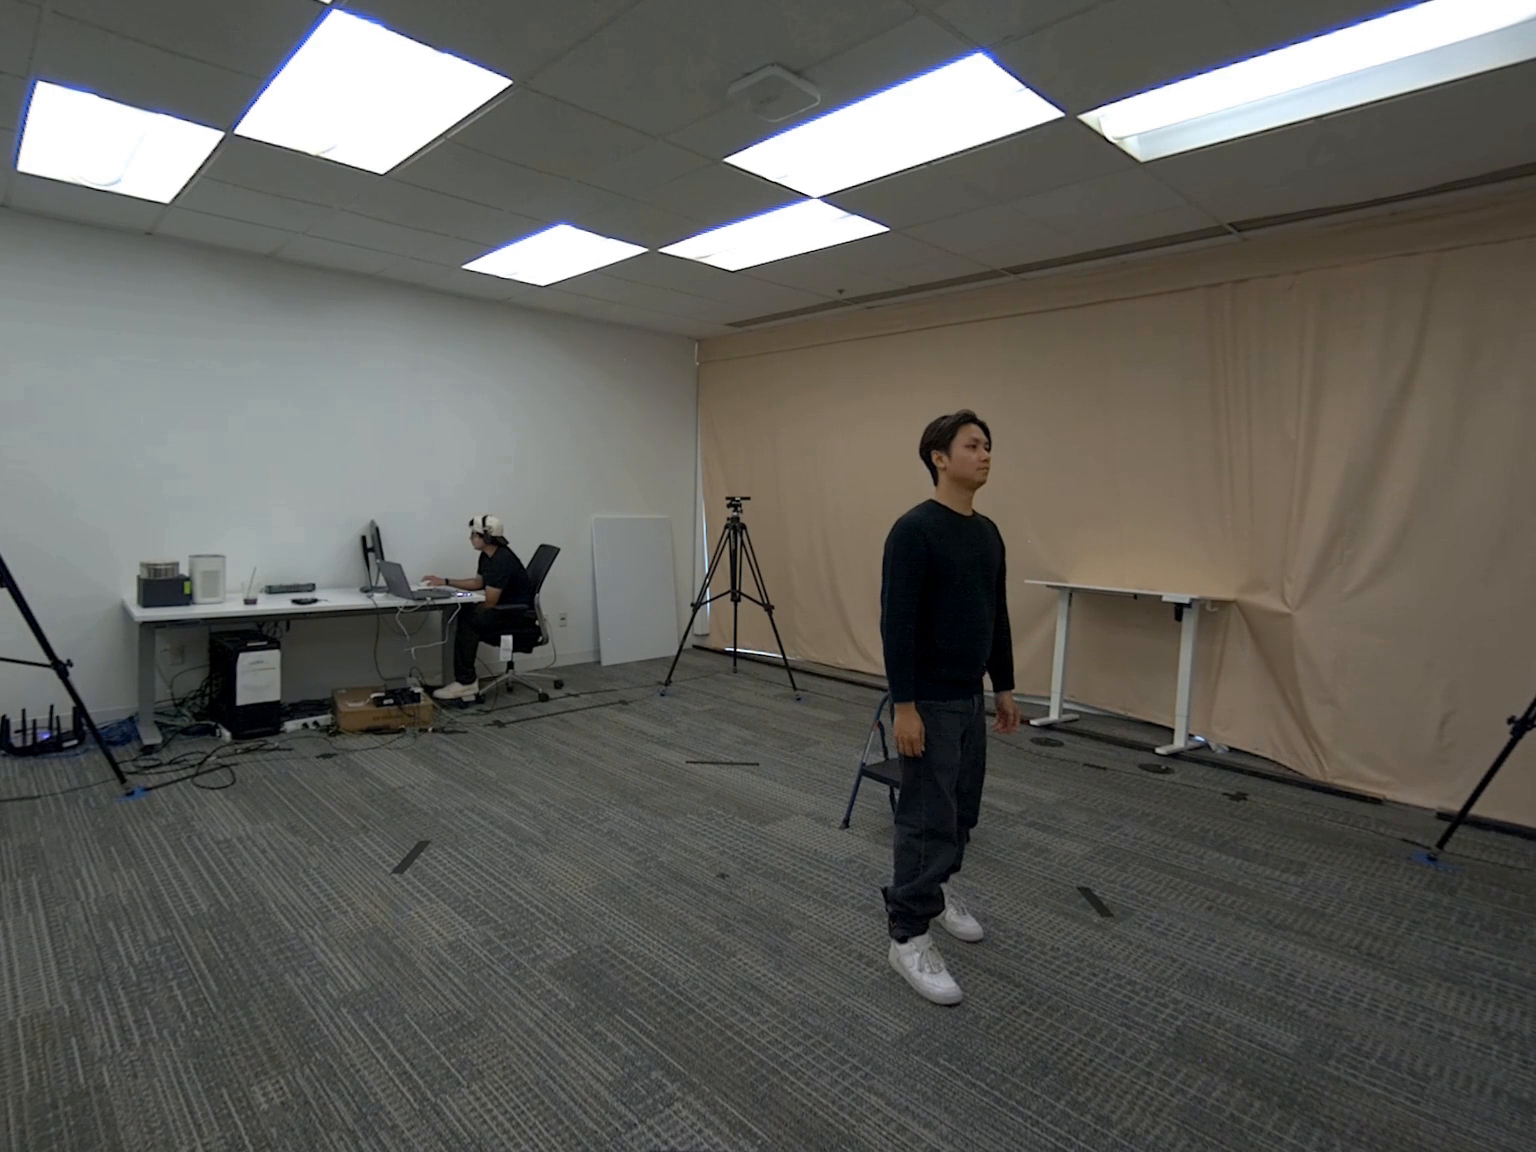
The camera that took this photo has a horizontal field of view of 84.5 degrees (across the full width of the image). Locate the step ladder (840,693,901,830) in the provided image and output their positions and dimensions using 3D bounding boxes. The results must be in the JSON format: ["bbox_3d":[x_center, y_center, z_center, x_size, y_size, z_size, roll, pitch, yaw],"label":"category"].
[{"bbox_3d":[0.575,0.787,3.516,0.341,0.604,0.441,-1,5,-38],"label":"step ladder"}]
